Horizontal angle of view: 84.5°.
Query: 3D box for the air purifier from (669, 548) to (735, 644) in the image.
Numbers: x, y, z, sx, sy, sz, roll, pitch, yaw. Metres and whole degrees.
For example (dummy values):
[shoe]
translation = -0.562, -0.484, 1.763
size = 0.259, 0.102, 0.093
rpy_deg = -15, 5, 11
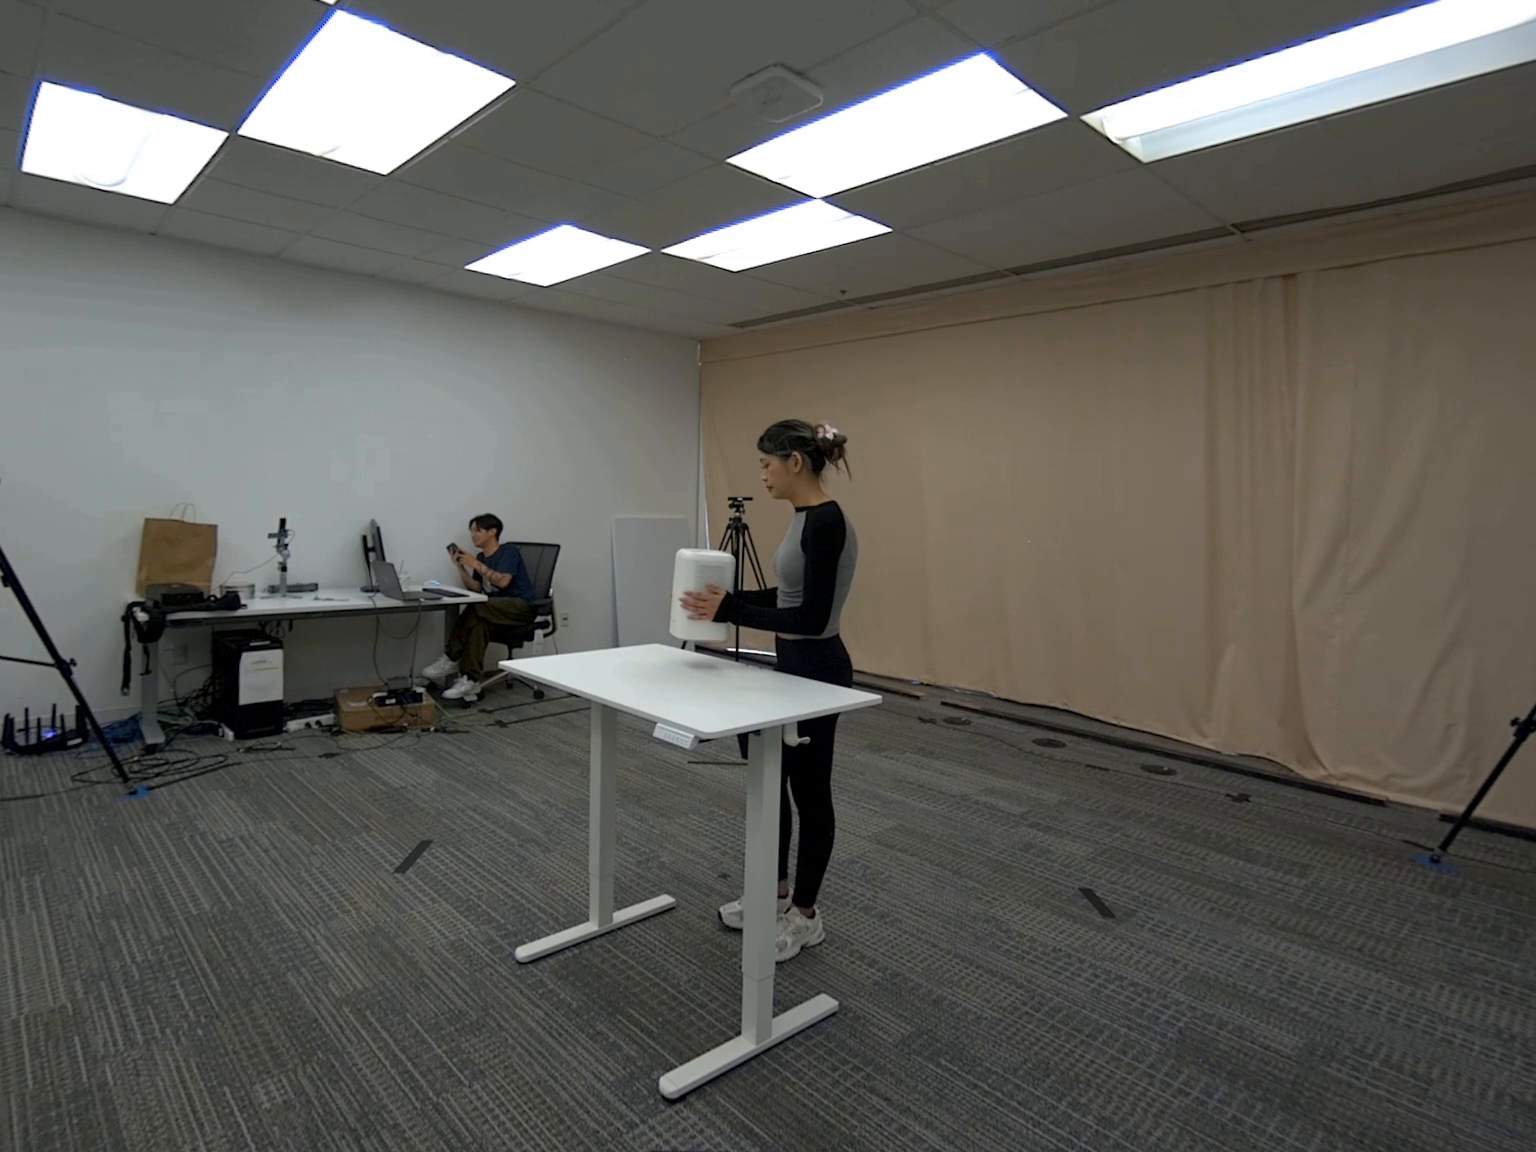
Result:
[air purifier]
translation = -0.200, 0.055, 2.560
size = 0.169, 0.265, 0.174
rpy_deg = 3, 4, -18
